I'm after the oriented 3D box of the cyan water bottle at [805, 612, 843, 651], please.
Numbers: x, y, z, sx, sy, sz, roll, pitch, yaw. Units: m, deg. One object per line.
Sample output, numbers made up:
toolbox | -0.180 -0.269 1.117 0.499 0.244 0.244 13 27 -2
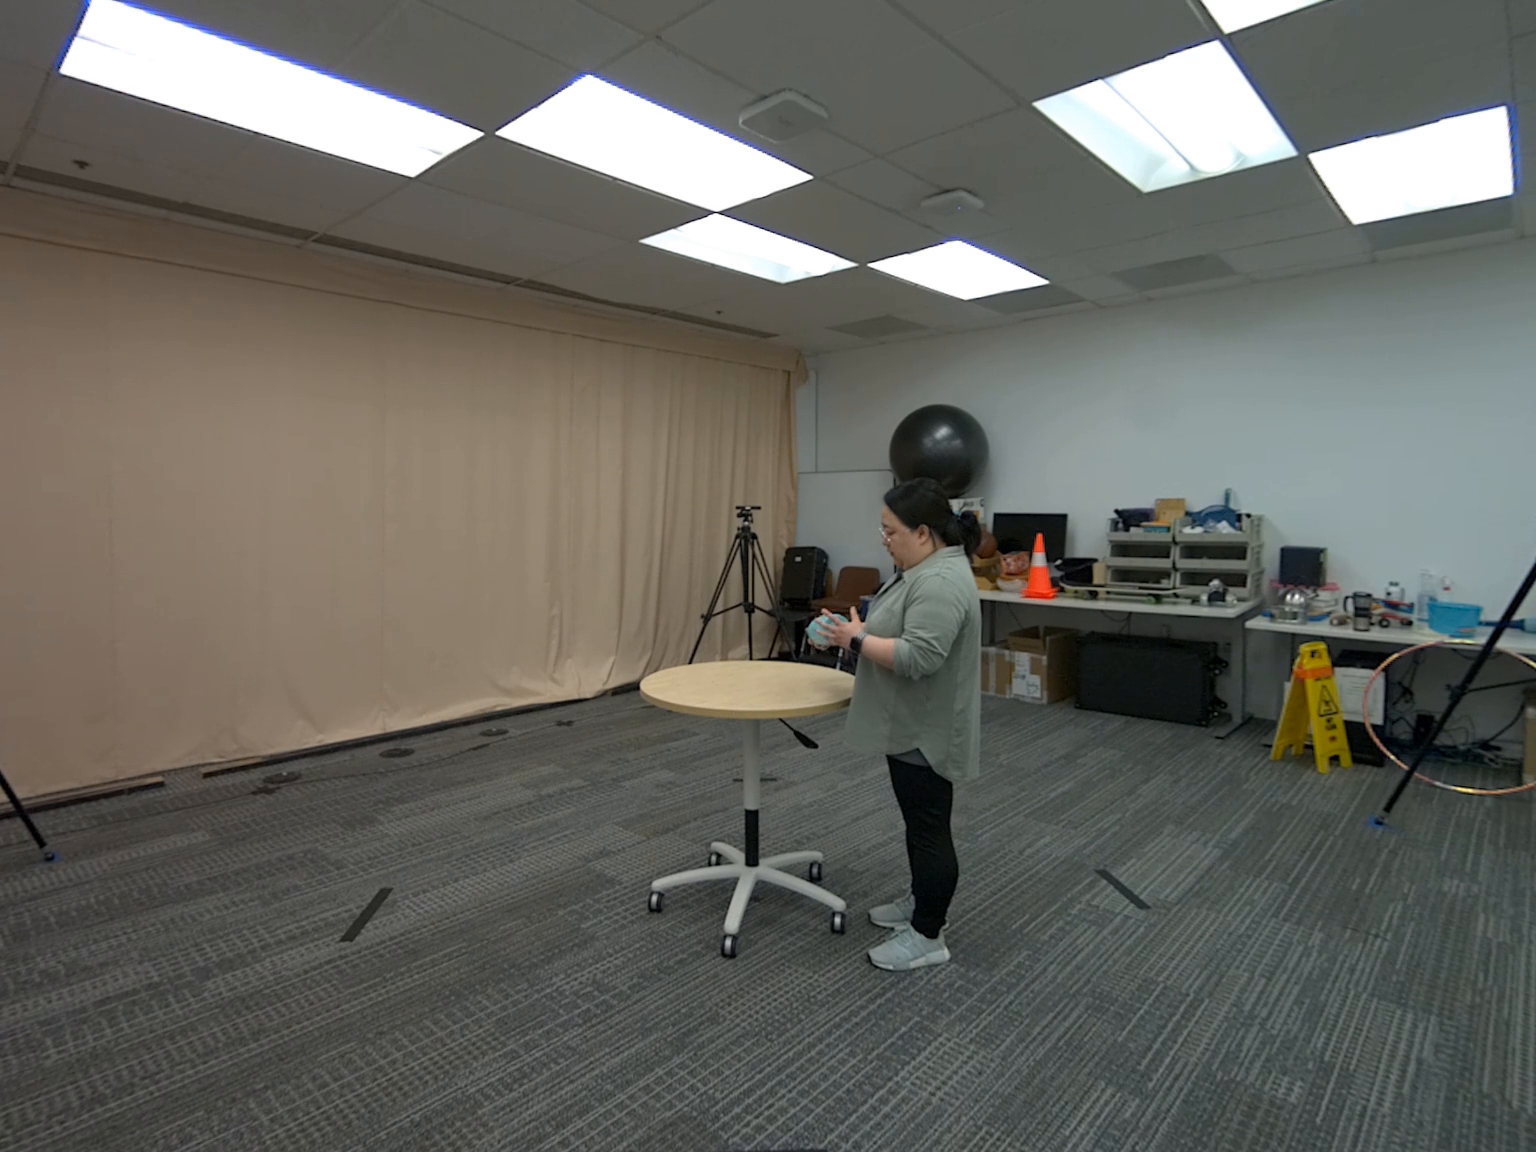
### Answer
cyan water bottle | 0.199 0.179 2.697 0.091 0.092 0.285 -1 -4 -12
